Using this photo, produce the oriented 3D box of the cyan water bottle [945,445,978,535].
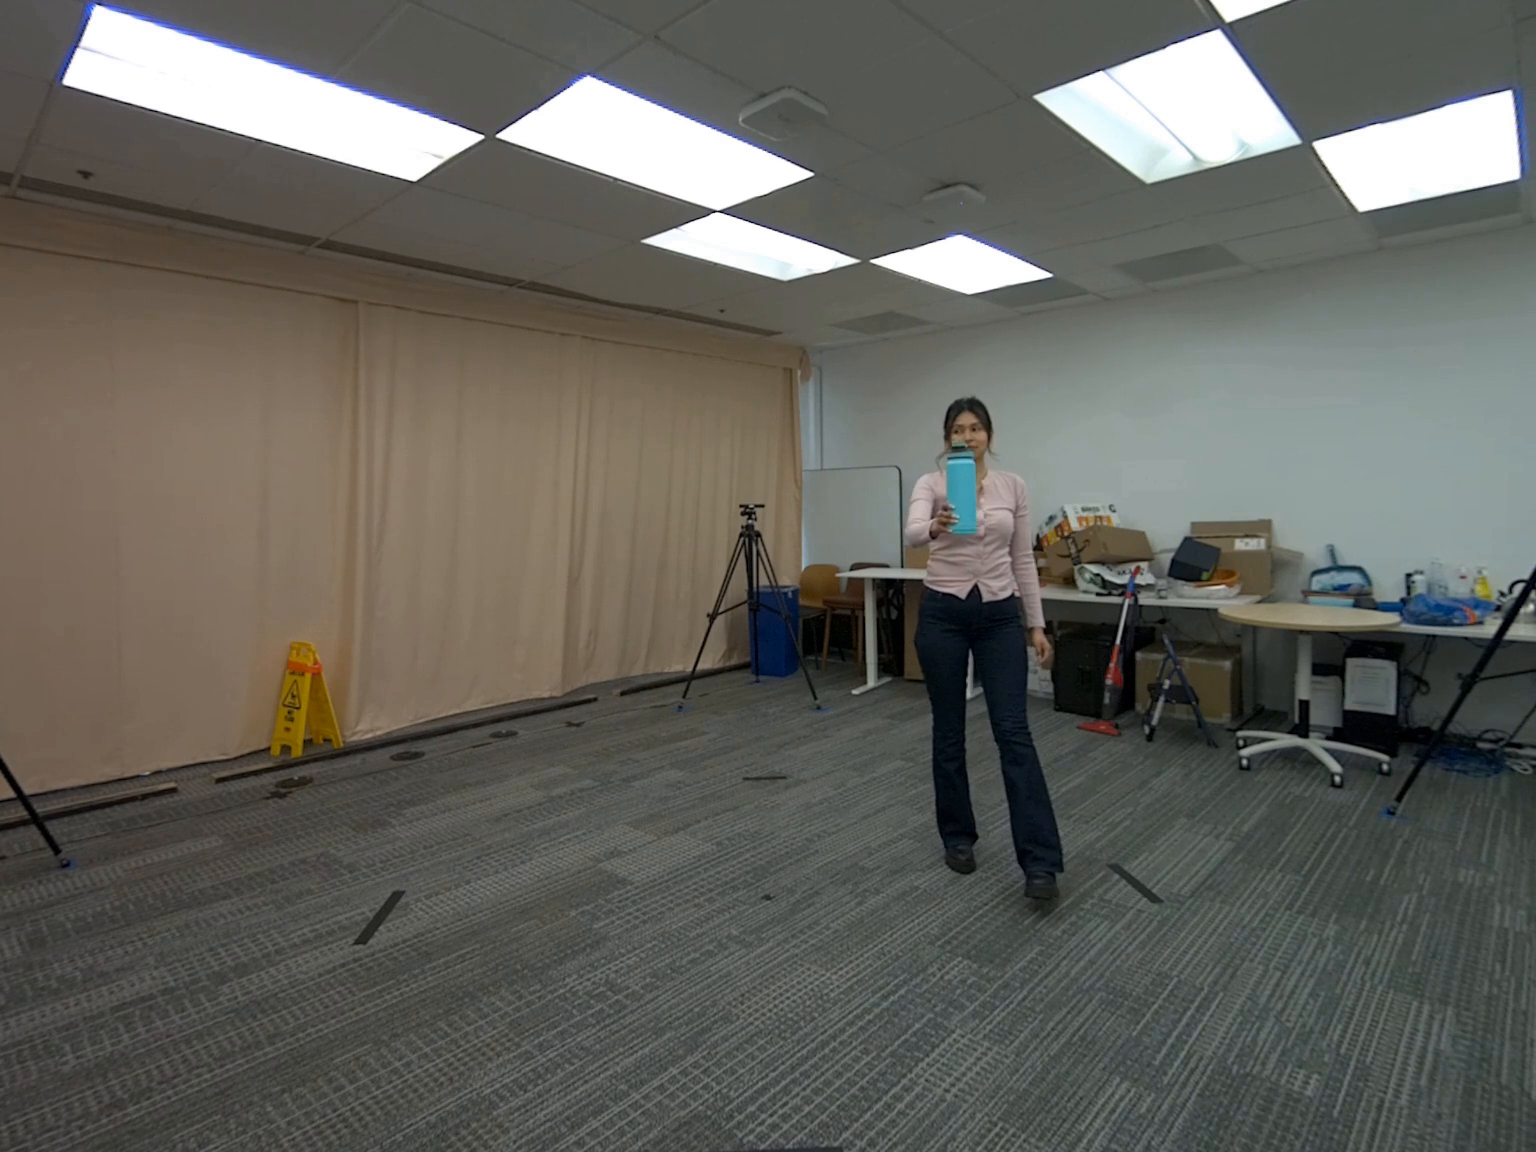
[{"bbox_3d":[0.607,-0.277,2.595,0.092,0.284,0.092,-3,-1,-2],"label":"cyan water bottle"}]
